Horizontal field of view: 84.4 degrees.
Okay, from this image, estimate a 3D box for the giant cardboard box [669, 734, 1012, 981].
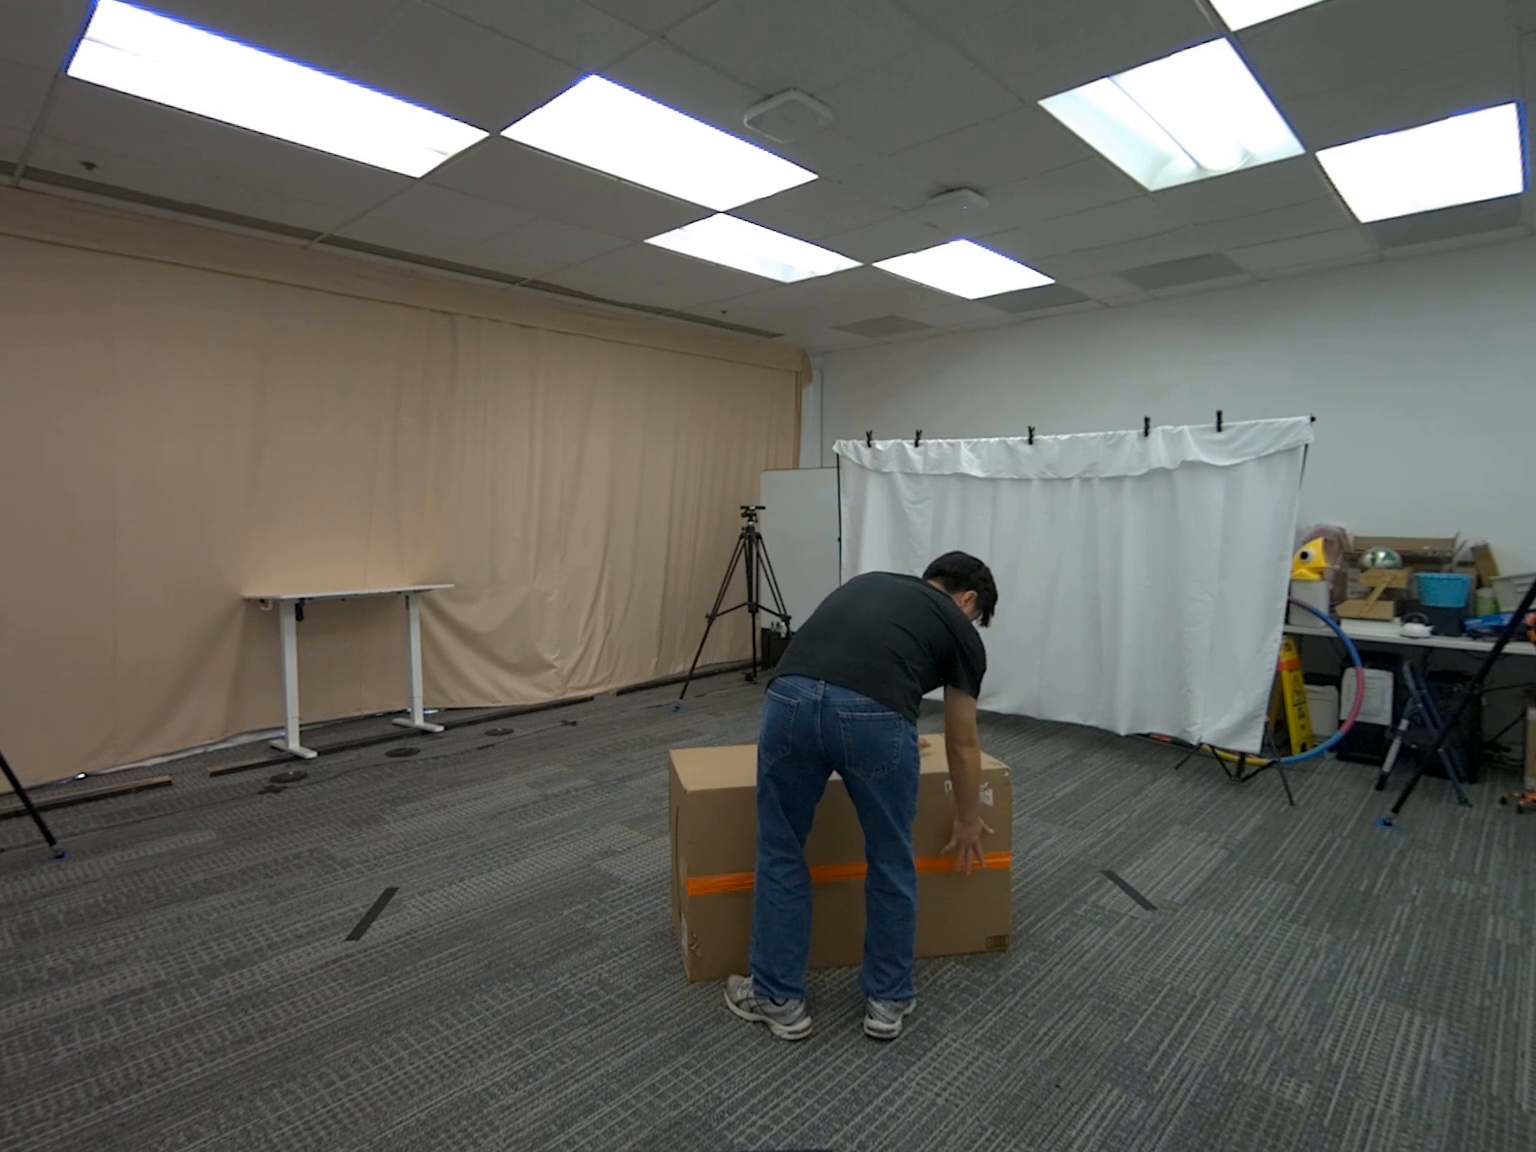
[{"bbox_3d":[0.214,0.874,2.733,1.015,0.582,0.453,-1,5,-11],"label":"giant cardboard box"}]
